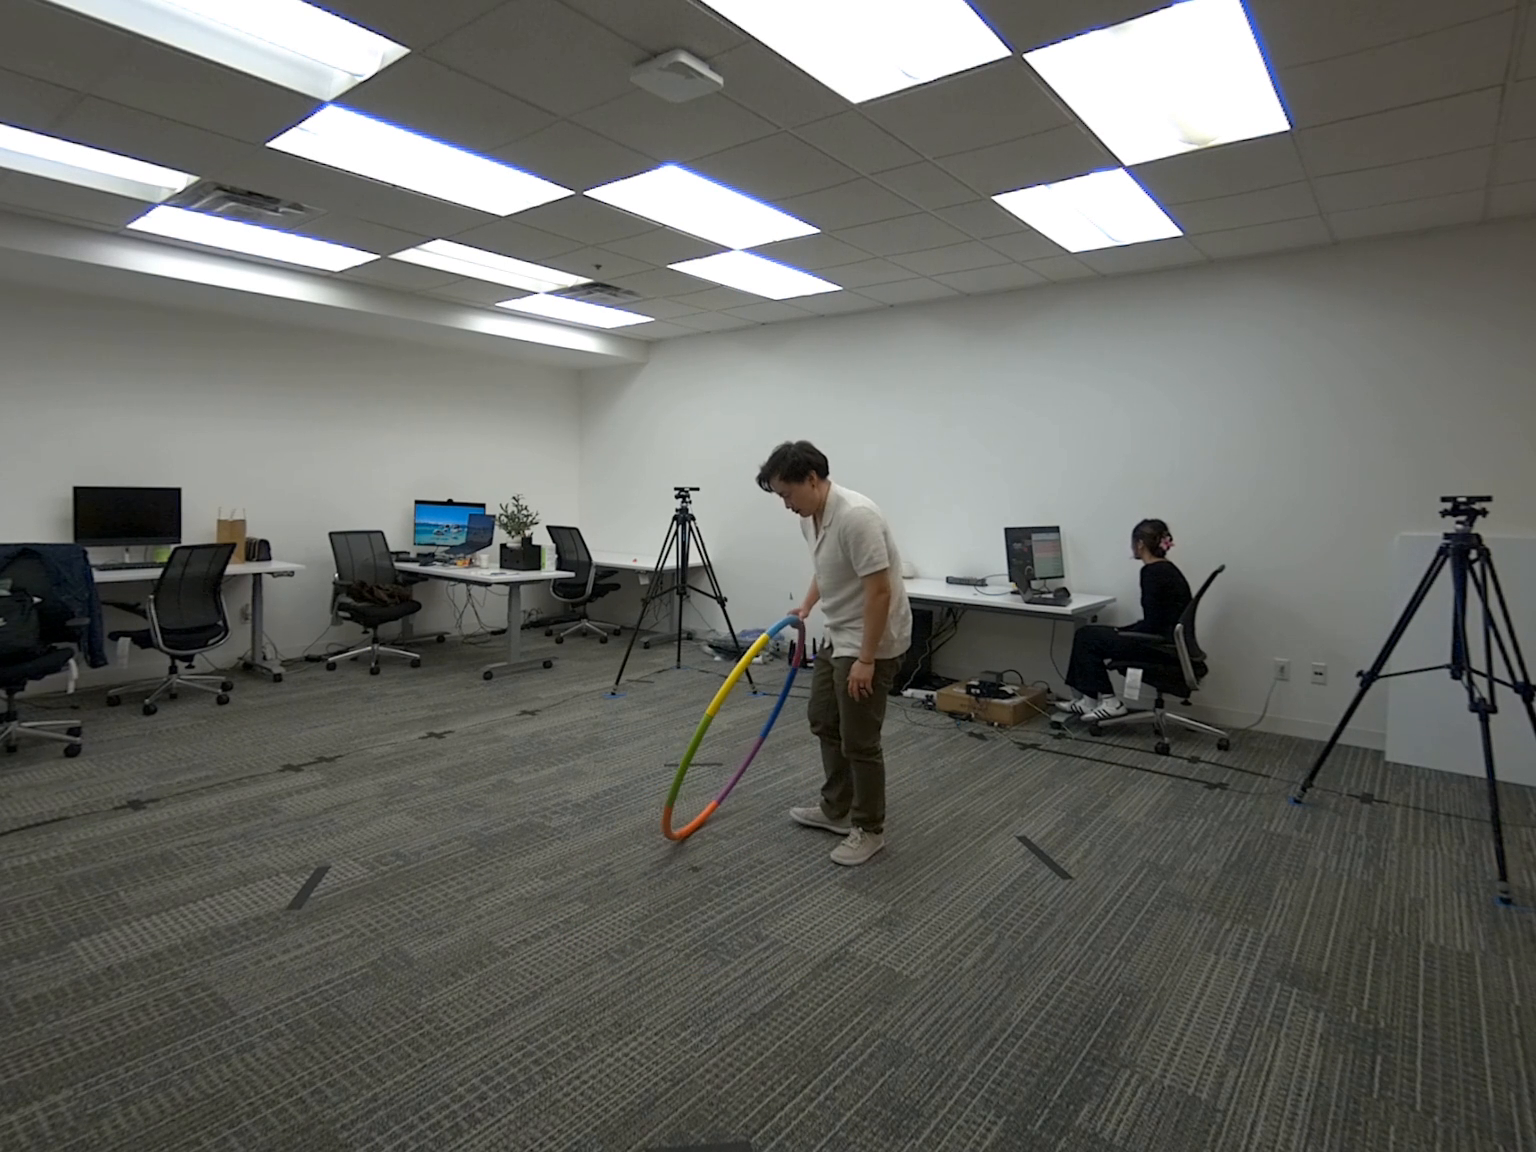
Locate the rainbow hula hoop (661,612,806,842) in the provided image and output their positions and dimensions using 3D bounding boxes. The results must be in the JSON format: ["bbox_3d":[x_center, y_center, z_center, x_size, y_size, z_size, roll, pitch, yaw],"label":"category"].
[{"bbox_3d":[-0.131,0.597,3.342,0.036,0.973,0.959,28,14,17],"label":"rainbow hula hoop"}]
